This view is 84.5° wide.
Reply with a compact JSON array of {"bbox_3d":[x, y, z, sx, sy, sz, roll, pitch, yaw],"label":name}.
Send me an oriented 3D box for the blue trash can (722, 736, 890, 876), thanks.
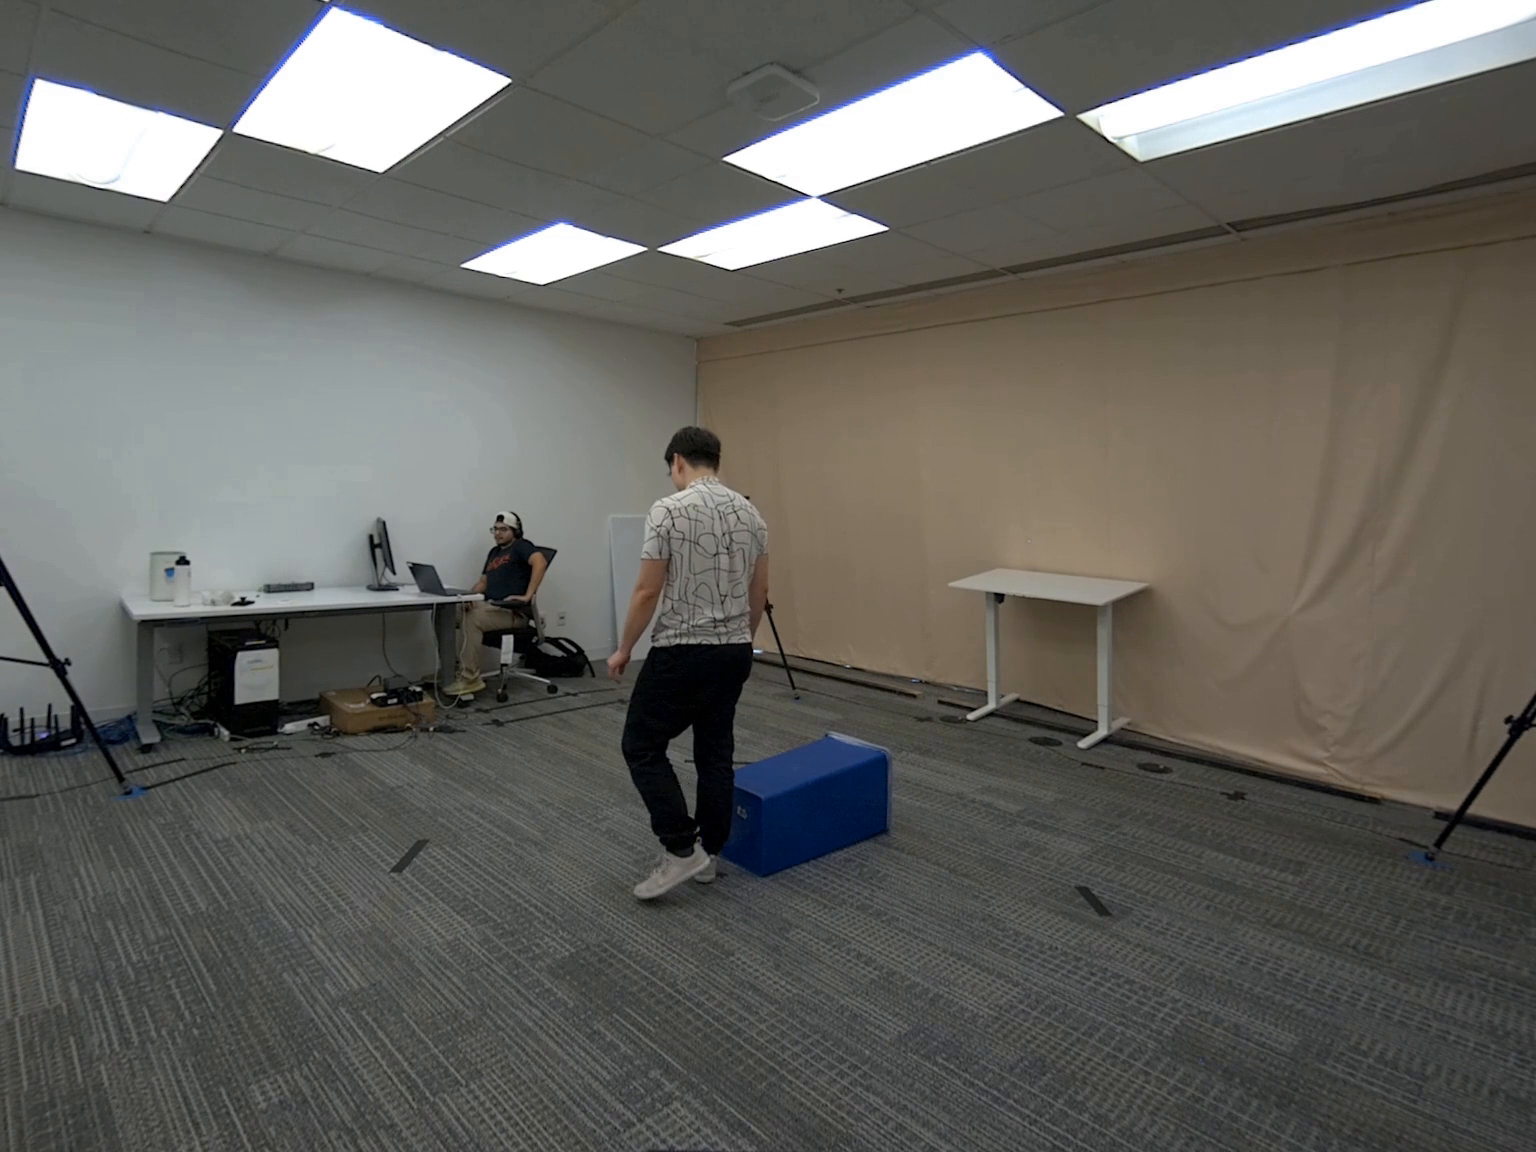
[{"bbox_3d":[0.124,0.910,3.410,0.698,0.377,0.384,-5,7,-42],"label":"blue trash can"}]
